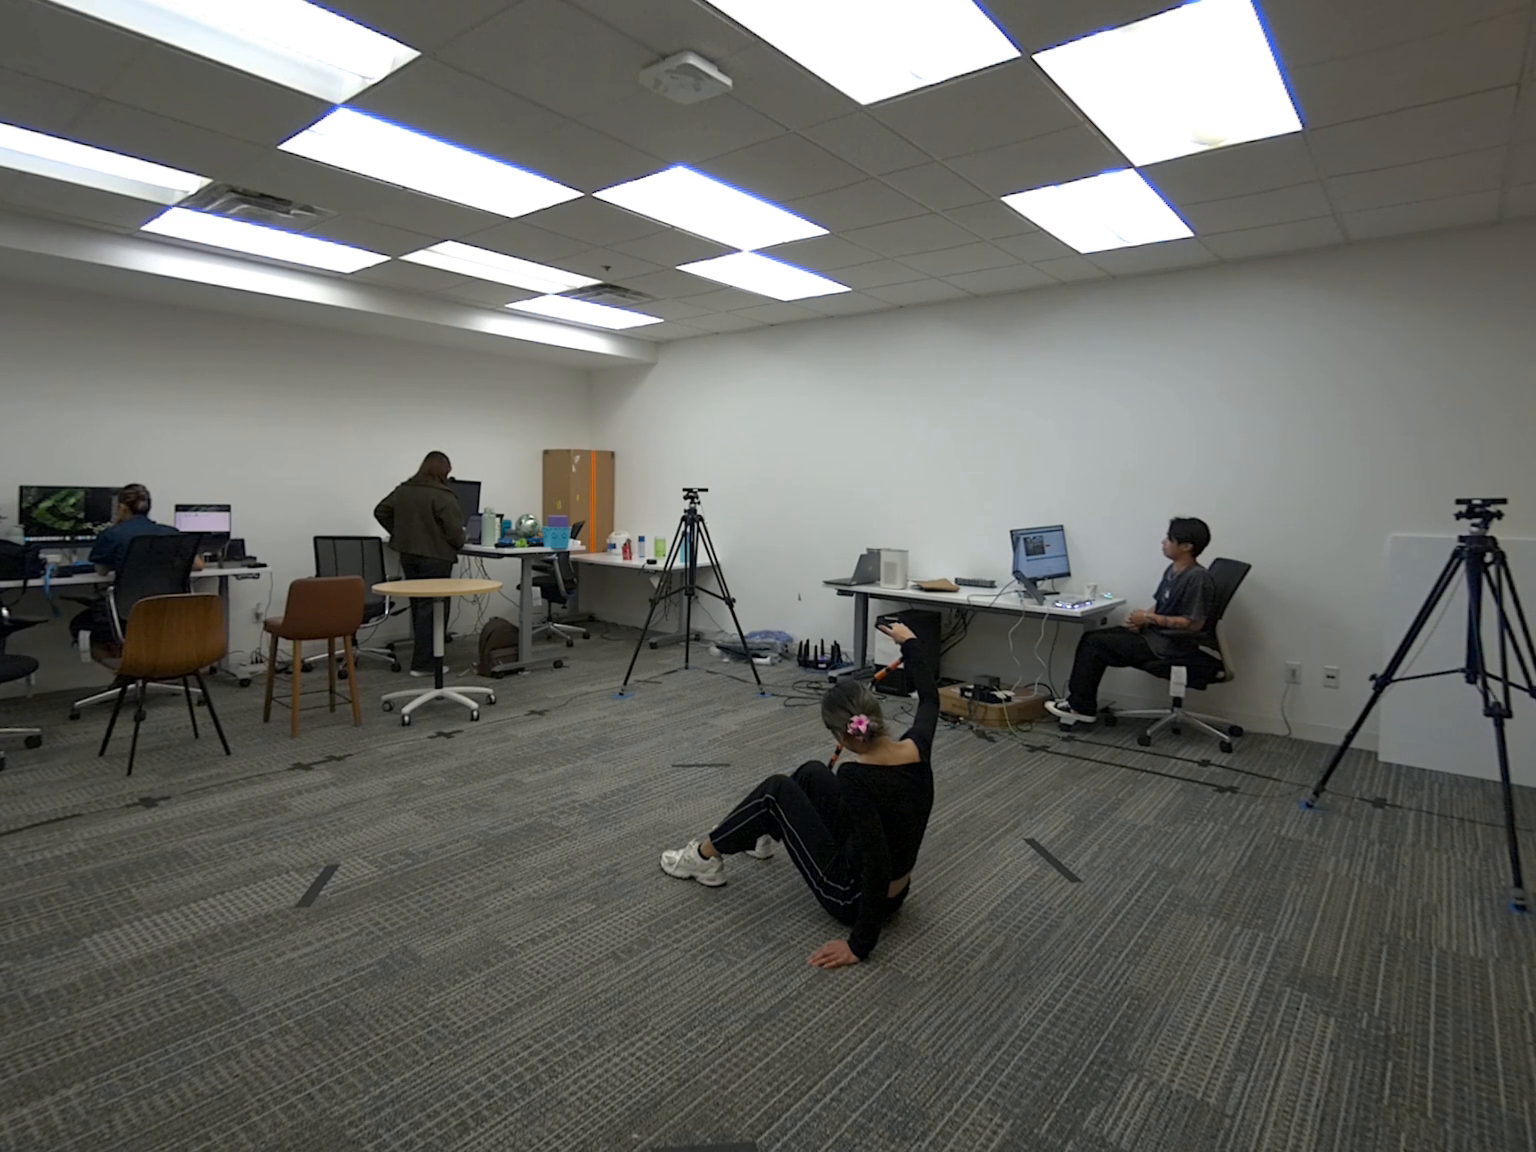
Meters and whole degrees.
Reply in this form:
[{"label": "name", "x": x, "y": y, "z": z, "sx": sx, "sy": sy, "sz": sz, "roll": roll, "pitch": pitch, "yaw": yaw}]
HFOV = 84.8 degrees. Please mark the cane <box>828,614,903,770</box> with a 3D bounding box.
[{"label": "cane", "x": 0.294, "y": 0.601, "z": 3.317, "sx": 0.212, "sy": 0.901, "sz": 0.148, "roll": 29, "pitch": 16, "yaw": 20}]
